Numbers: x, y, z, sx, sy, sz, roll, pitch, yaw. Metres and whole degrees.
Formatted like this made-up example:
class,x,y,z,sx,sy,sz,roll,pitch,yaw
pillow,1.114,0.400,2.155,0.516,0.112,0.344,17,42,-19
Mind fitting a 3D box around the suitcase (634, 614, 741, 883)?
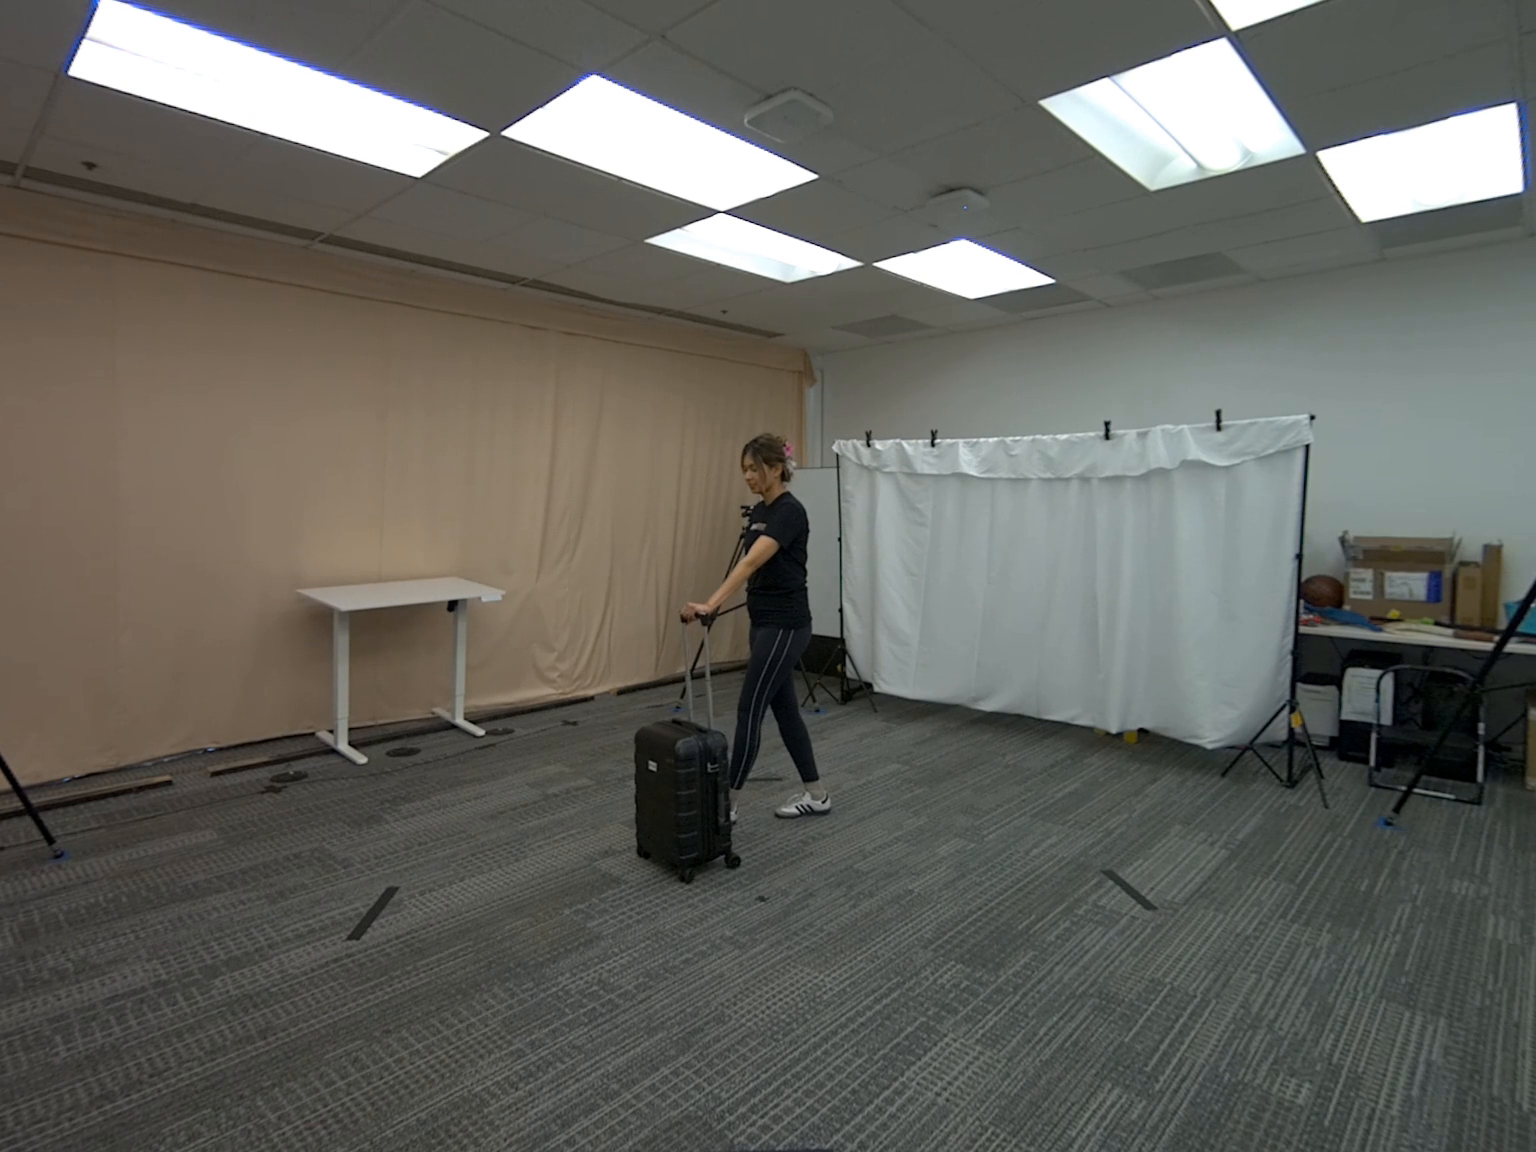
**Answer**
class,x,y,z,sx,sy,sz,roll,pitch,yaw
suitcase,-0.345,0.644,3.250,0.250,0.975,0.396,-8,7,-39
